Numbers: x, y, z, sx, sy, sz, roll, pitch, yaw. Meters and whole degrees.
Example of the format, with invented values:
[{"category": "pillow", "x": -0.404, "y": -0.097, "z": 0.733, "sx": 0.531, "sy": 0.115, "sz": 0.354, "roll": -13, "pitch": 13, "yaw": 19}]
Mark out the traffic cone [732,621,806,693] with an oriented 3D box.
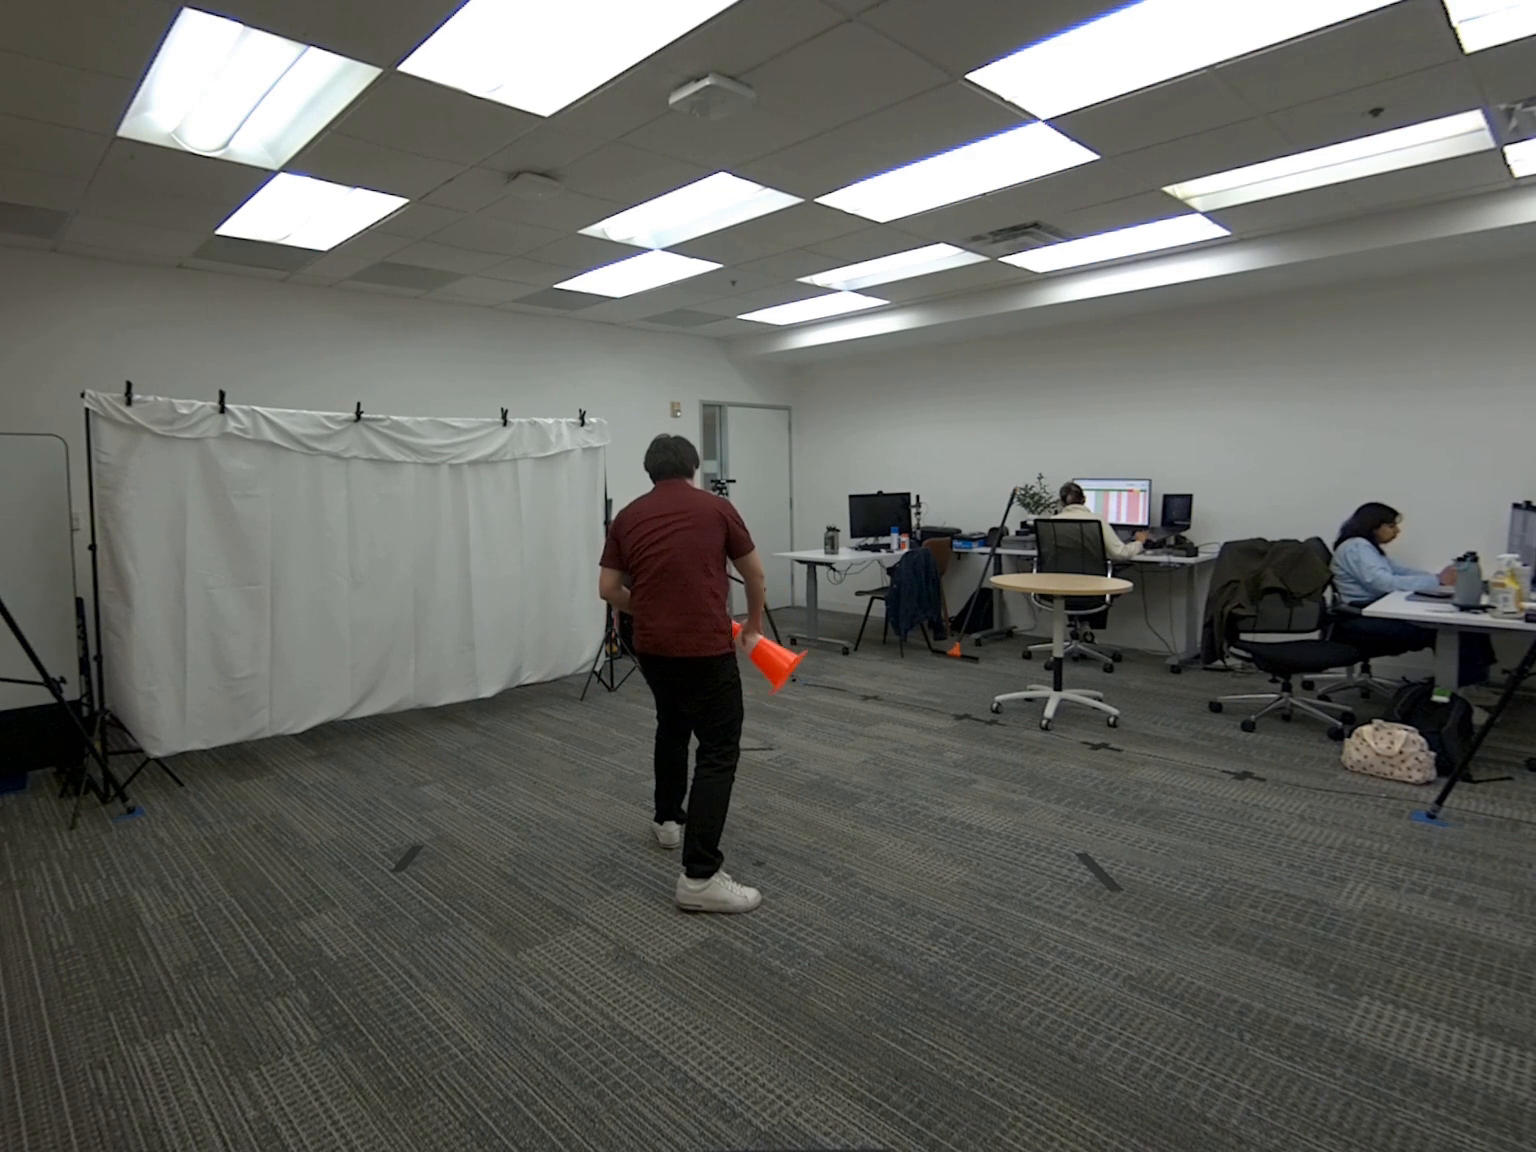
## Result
[{"category": "traffic cone", "x": -0.062, "y": 0.272, "z": 3.504, "sx": 0.391, "sy": 0.203, "sz": 0.201, "roll": 38, "pitch": 14, "yaw": 15}]
